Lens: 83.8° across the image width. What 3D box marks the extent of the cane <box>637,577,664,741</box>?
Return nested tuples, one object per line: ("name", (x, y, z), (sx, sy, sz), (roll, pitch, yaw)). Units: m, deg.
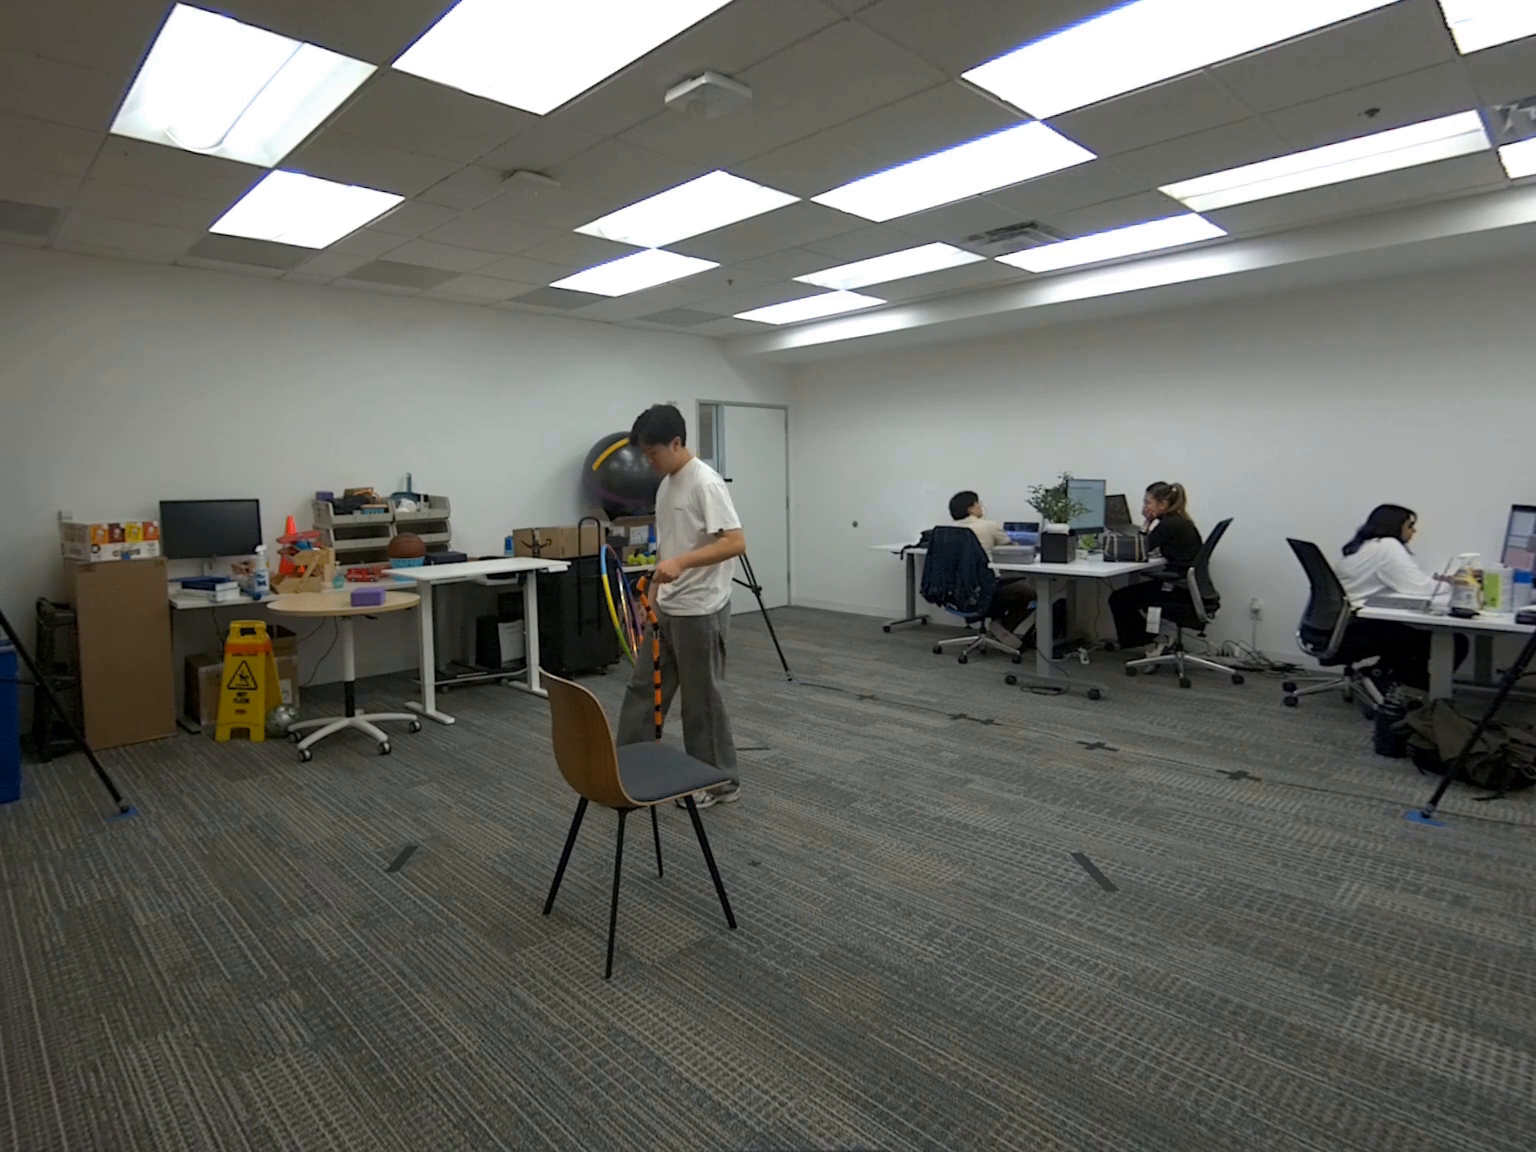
("cane", (-0.445, 0.469, 3.426), (0.205, 0.902, 0.154), (0, 8, -10))
